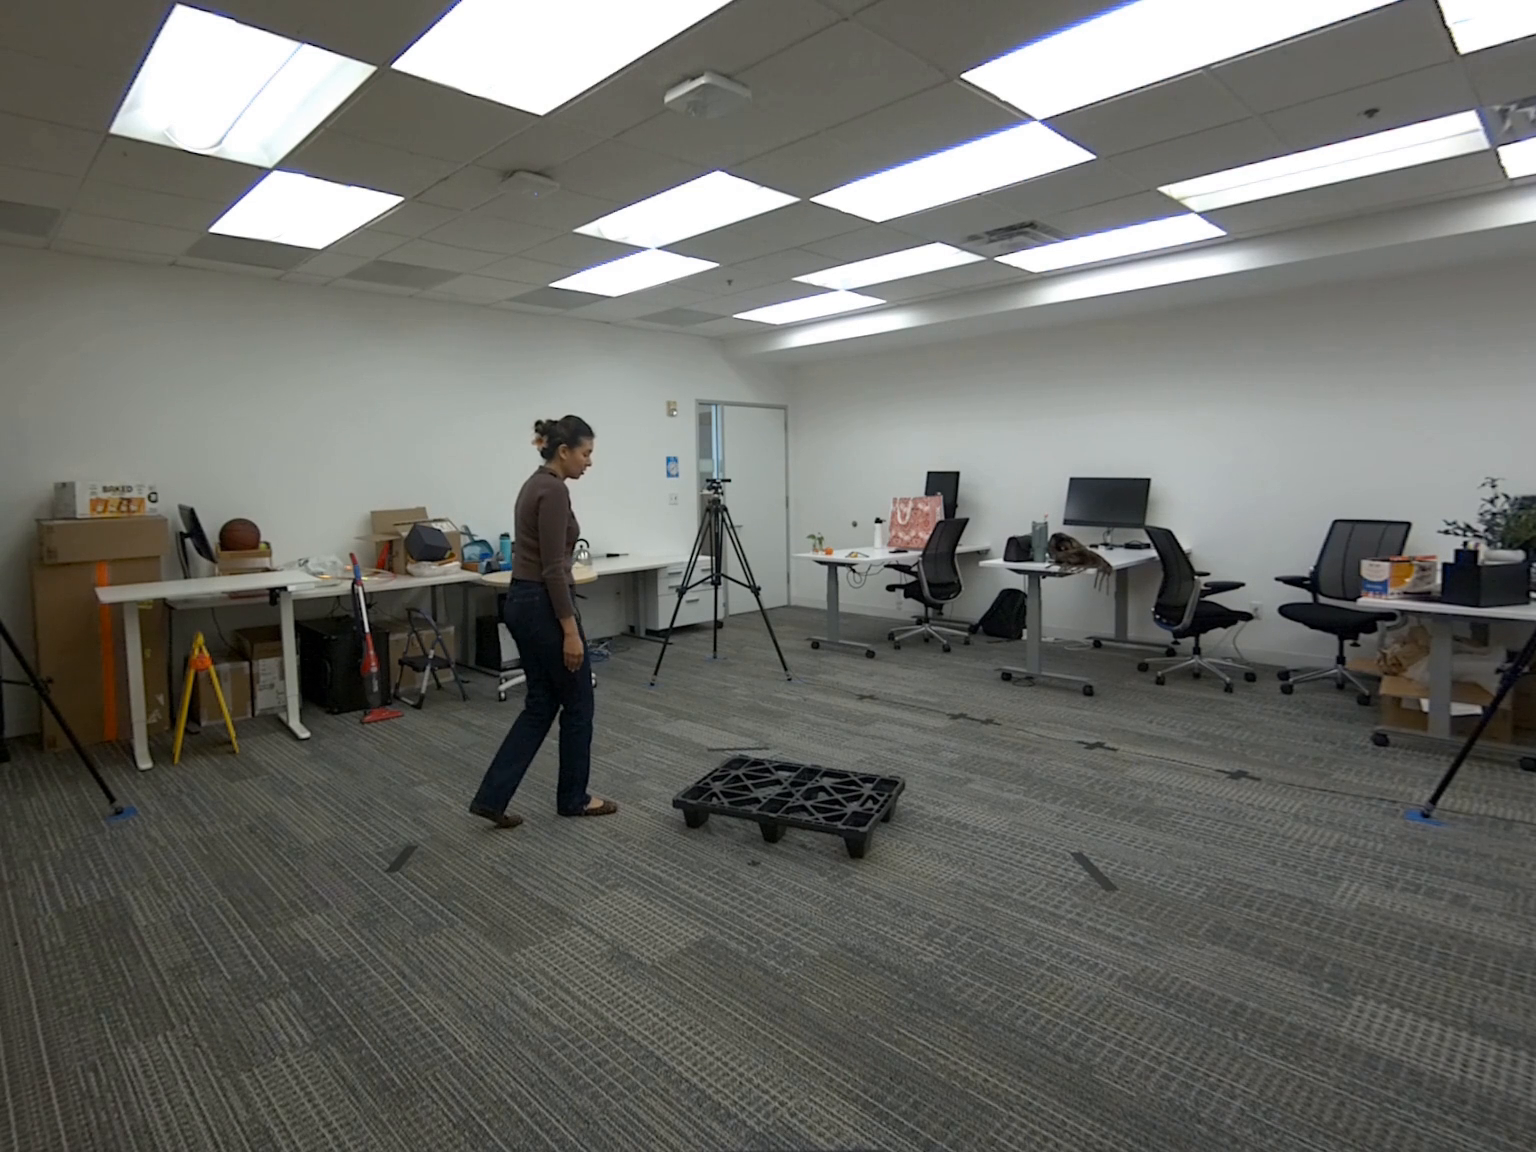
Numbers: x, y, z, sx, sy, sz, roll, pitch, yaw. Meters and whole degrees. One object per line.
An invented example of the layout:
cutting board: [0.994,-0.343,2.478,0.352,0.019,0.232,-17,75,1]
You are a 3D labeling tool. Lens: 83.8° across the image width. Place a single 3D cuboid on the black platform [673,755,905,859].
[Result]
black platform: [0.096,0.930,3.492,0.824,0.143,0.593,2,6,25]
